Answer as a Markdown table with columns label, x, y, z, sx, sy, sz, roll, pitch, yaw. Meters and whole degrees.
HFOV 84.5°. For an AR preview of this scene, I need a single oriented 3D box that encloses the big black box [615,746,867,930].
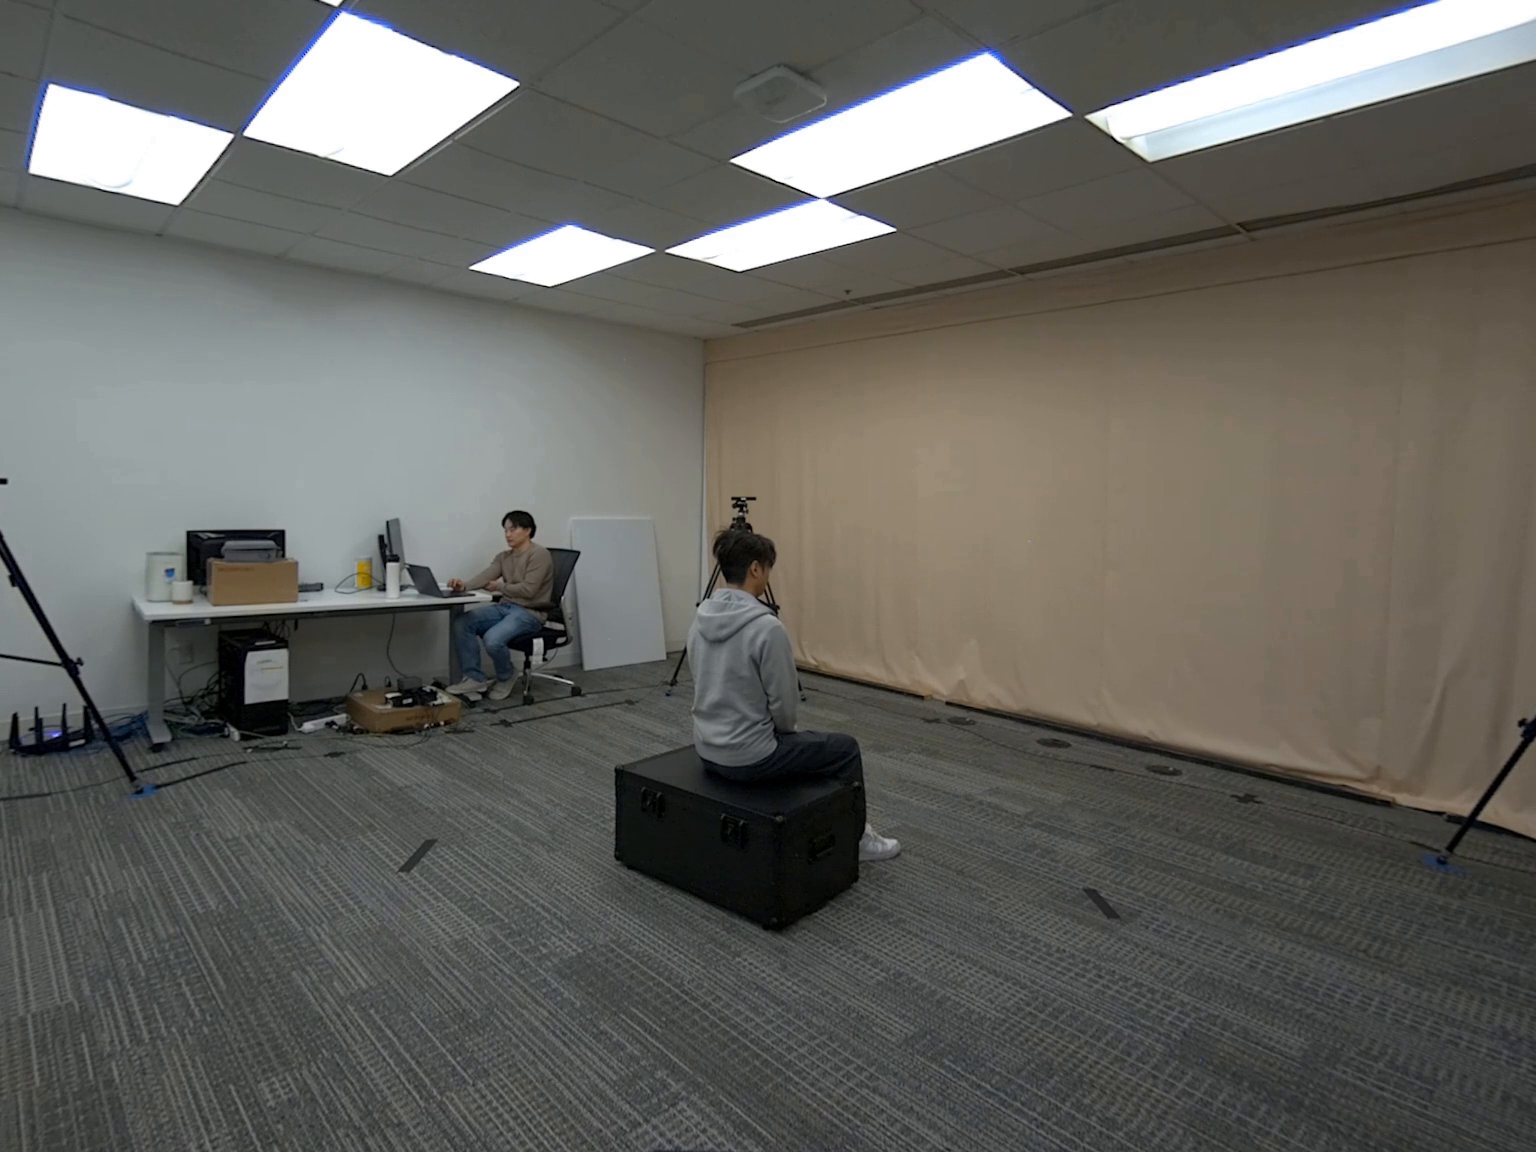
| label | x | y | z | sx | sy | sz | roll | pitch | yaw |
| --- | --- | --- | --- | --- | --- | --- | --- | --- | --- |
| big black box | -0.111 | 0.927 | 3.068 | 0.883 | 0.395 | 0.510 | 5 | 6 | 40 |
